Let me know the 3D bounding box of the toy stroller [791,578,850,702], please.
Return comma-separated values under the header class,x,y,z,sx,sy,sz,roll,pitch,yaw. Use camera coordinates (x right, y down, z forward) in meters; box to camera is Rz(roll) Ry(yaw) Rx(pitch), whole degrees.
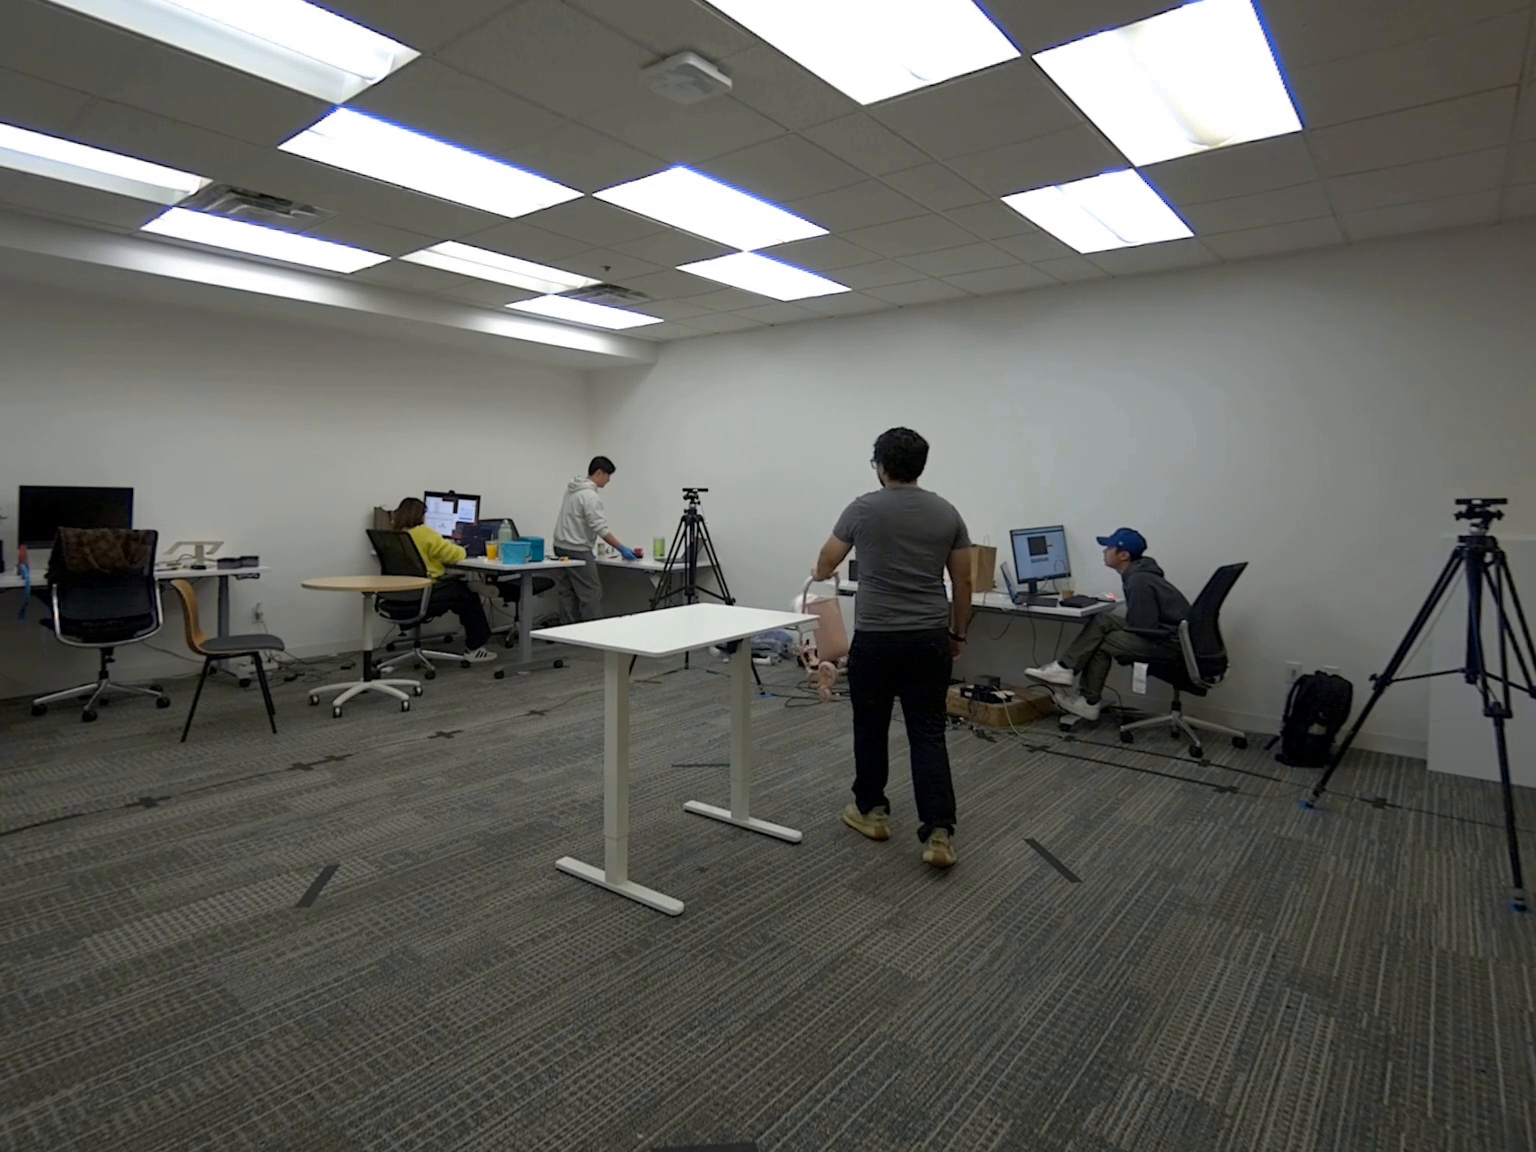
class,x,y,z,sx,sy,sz,roll,pitch,yaw
toy stroller,0.245,0.283,3.852,0.275,0.543,0.343,-13,-13,-30
